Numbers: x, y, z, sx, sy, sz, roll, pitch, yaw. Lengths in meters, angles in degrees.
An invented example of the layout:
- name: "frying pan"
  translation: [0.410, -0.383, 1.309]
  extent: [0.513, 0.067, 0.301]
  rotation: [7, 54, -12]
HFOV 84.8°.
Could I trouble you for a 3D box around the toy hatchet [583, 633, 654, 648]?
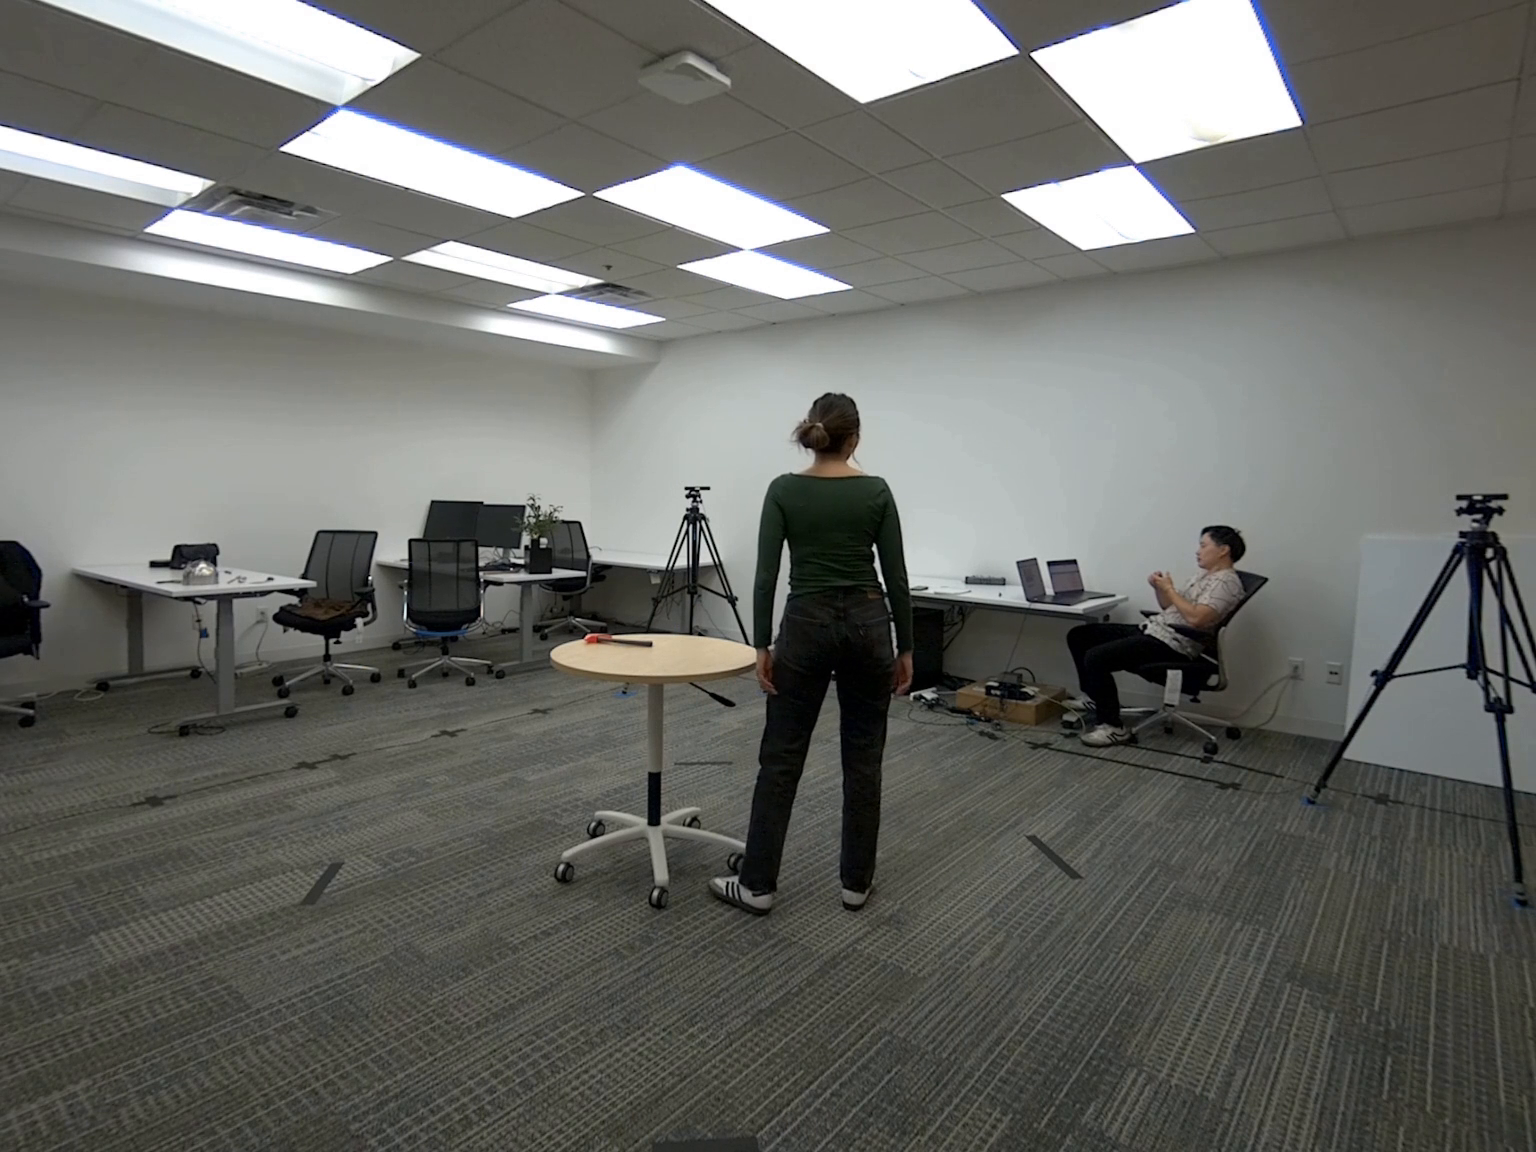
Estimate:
- name: "toy hatchet"
  translation: [-0.583, 0.246, 3.299]
  extent: [0.270, 0.029, 0.131]
  rotation: [4, 3, 1]
